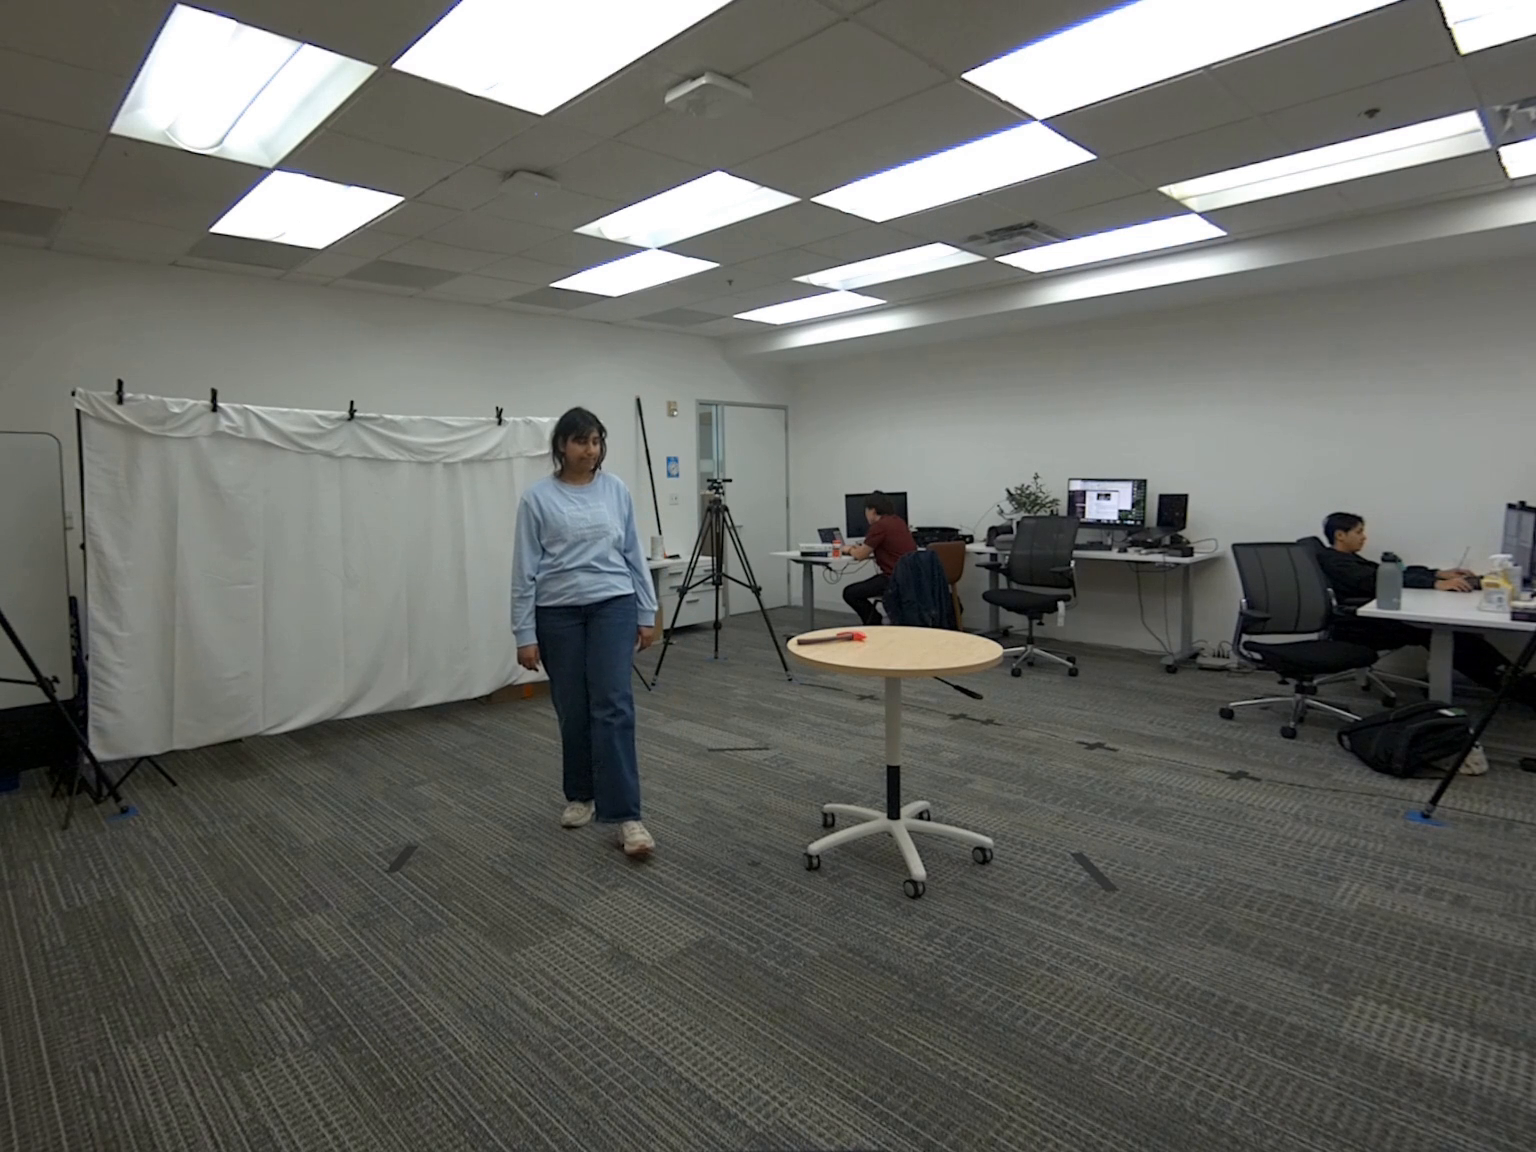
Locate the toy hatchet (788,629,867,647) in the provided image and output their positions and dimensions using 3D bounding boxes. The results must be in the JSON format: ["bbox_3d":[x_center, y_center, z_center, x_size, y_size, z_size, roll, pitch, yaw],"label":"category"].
[{"bbox_3d":[0.230,0.230,3.221,0.268,0.029,0.132,-3,6,-8],"label":"toy hatchet"}]
